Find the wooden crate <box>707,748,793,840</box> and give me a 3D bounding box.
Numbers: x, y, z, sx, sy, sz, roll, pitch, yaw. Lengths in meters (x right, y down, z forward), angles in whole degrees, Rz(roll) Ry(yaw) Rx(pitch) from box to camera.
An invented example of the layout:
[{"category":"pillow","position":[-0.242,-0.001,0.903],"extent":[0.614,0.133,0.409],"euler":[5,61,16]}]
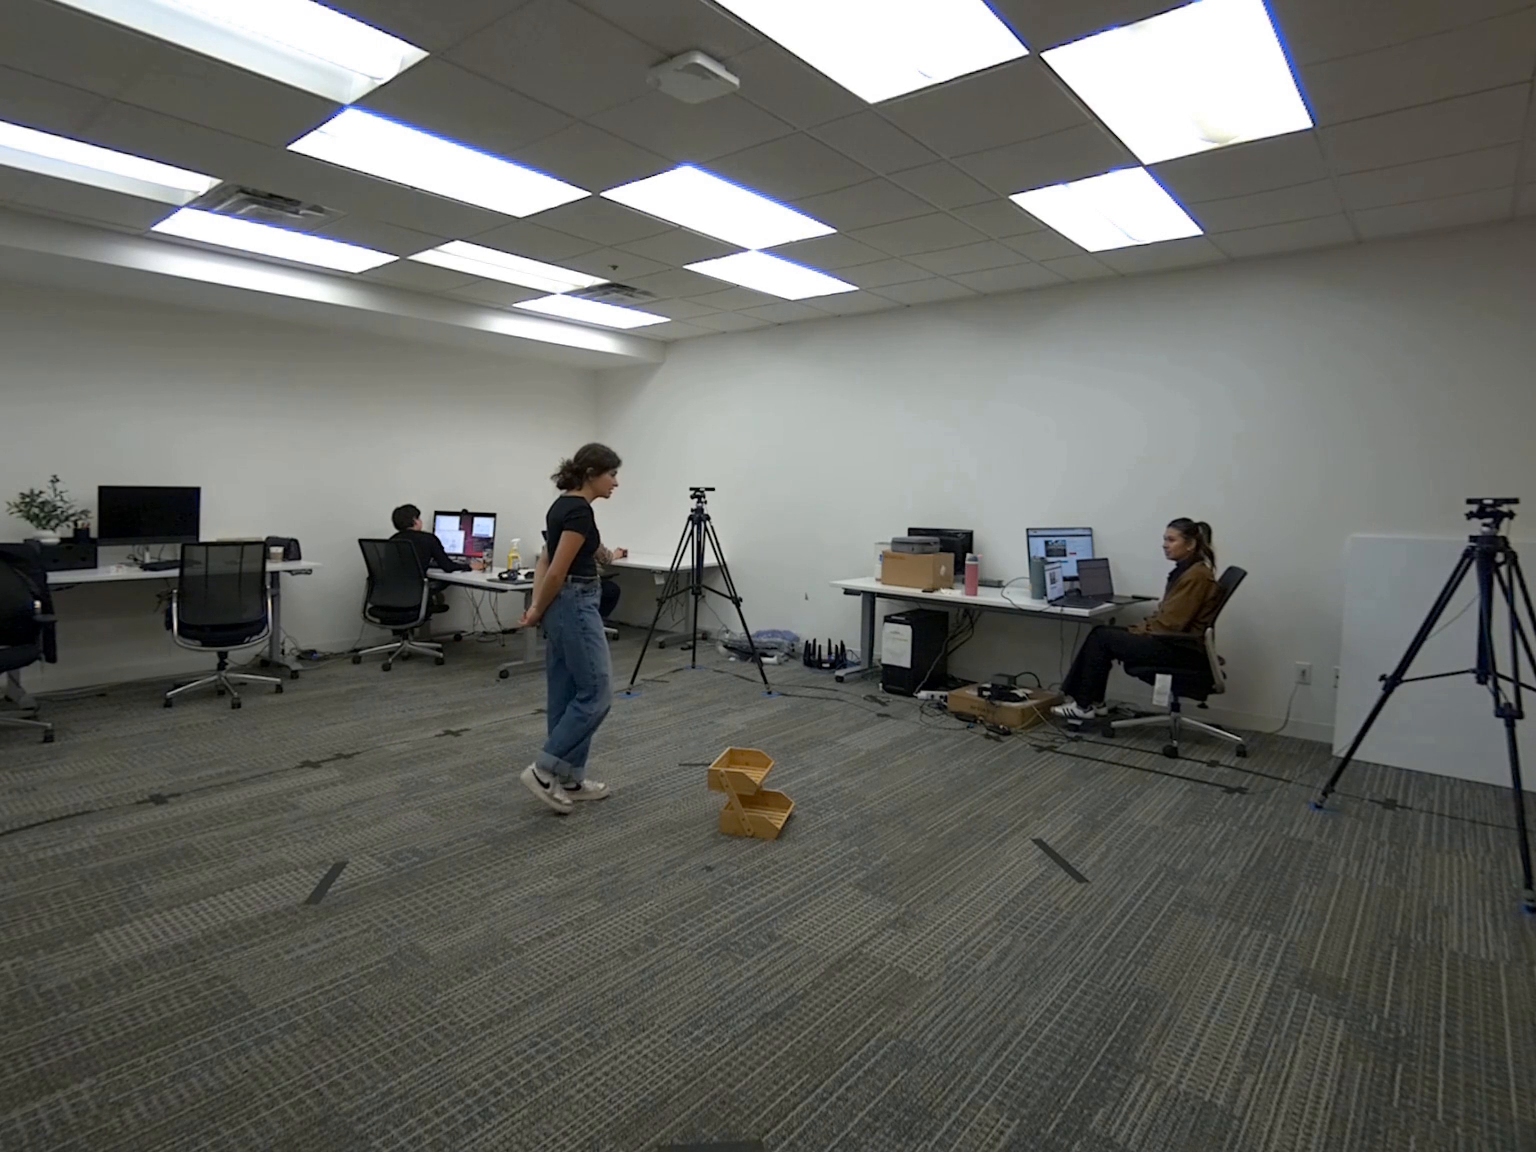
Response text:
[{"category":"wooden crate","position":[-0.066,0.893,3.548],"extent":[0.307,0.272,0.320],"euler":[2,5,15]}]
